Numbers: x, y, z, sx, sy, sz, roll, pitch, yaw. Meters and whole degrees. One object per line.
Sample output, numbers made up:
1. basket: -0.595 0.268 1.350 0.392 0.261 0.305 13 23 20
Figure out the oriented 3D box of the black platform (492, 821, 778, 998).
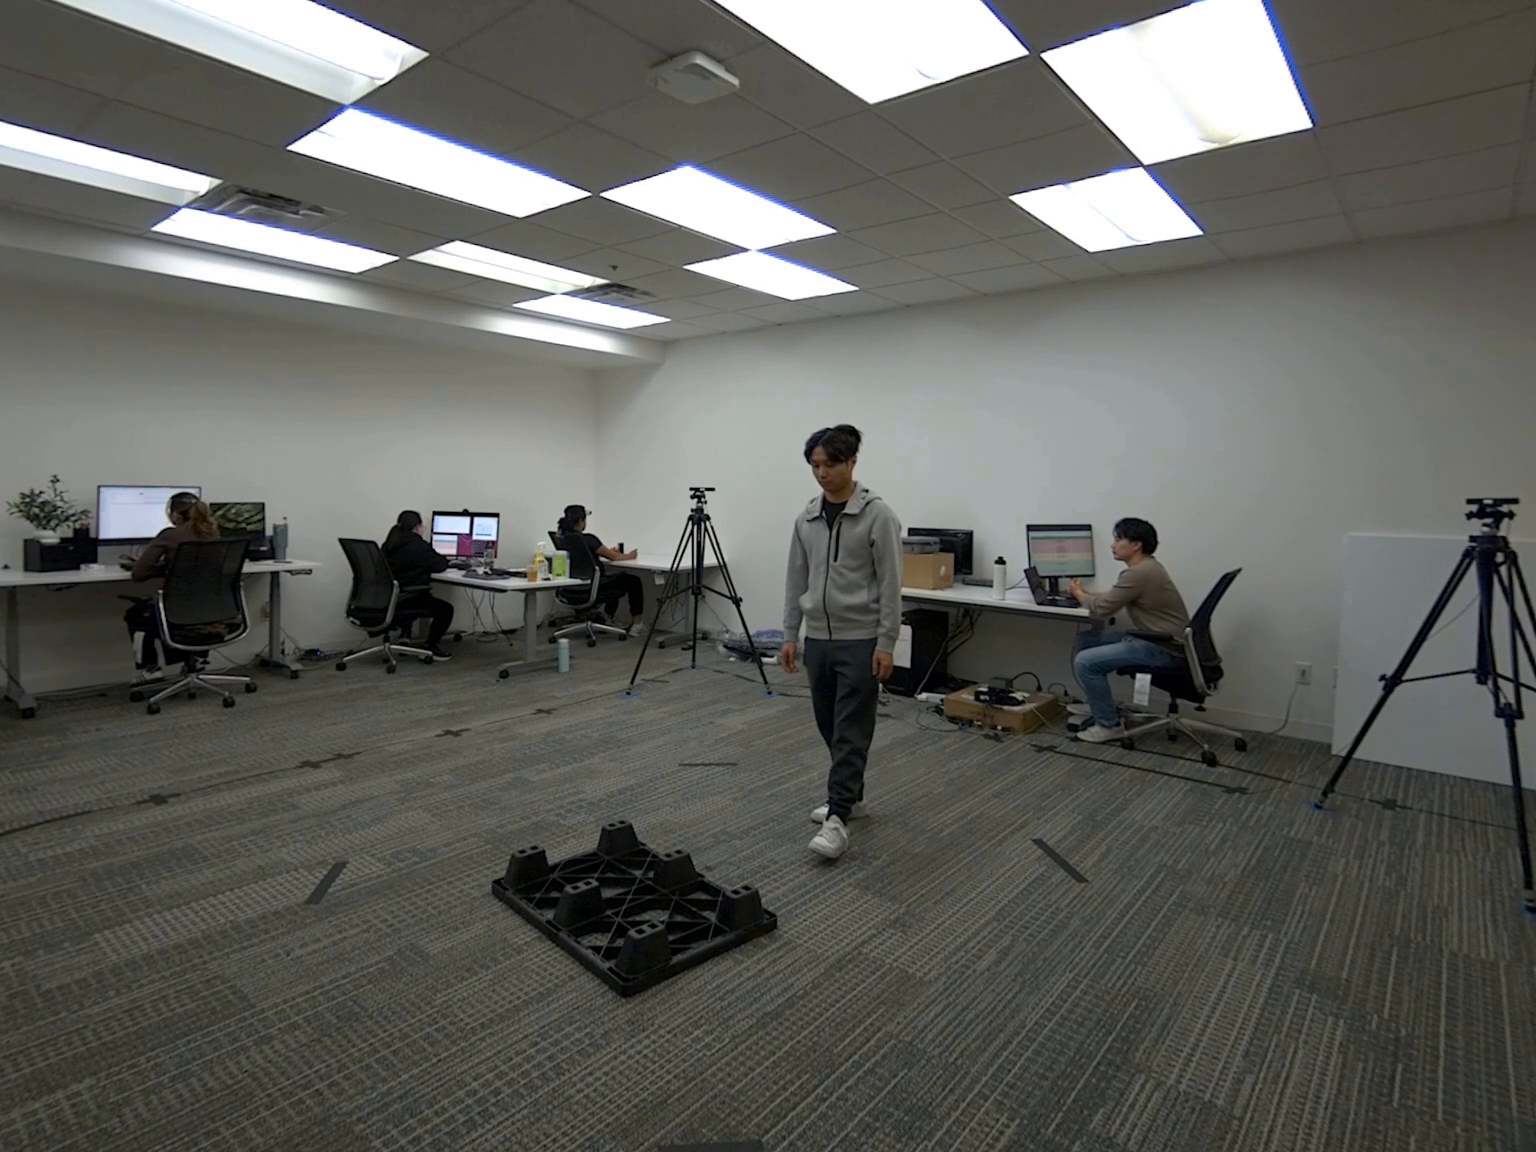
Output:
1. black platform: -0.470 1.028 2.792 0.587 0.143 0.833 -4 7 -44
